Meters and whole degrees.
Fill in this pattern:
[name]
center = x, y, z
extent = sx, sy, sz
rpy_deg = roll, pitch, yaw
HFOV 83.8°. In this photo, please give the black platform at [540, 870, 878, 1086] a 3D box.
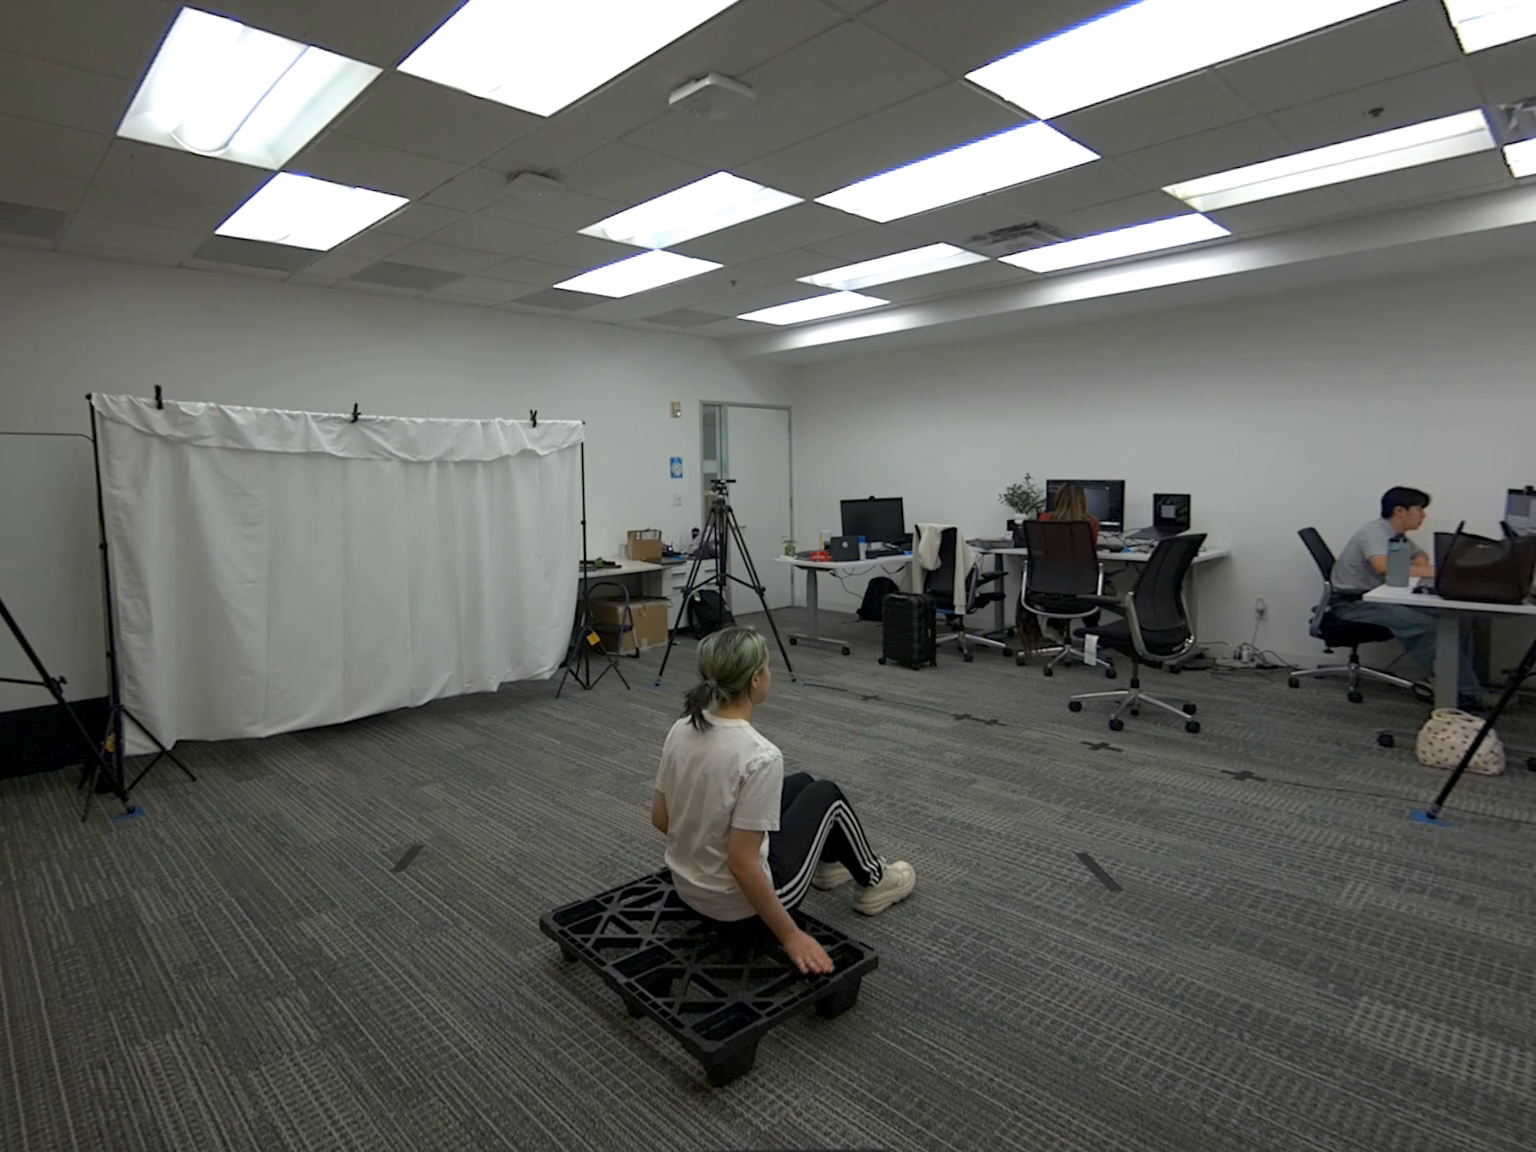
[black platform]
center = -0.186, 1.066, 2.397
extent = 0.589, 0.142, 0.831
rpy_deg = -6, 9, -40
